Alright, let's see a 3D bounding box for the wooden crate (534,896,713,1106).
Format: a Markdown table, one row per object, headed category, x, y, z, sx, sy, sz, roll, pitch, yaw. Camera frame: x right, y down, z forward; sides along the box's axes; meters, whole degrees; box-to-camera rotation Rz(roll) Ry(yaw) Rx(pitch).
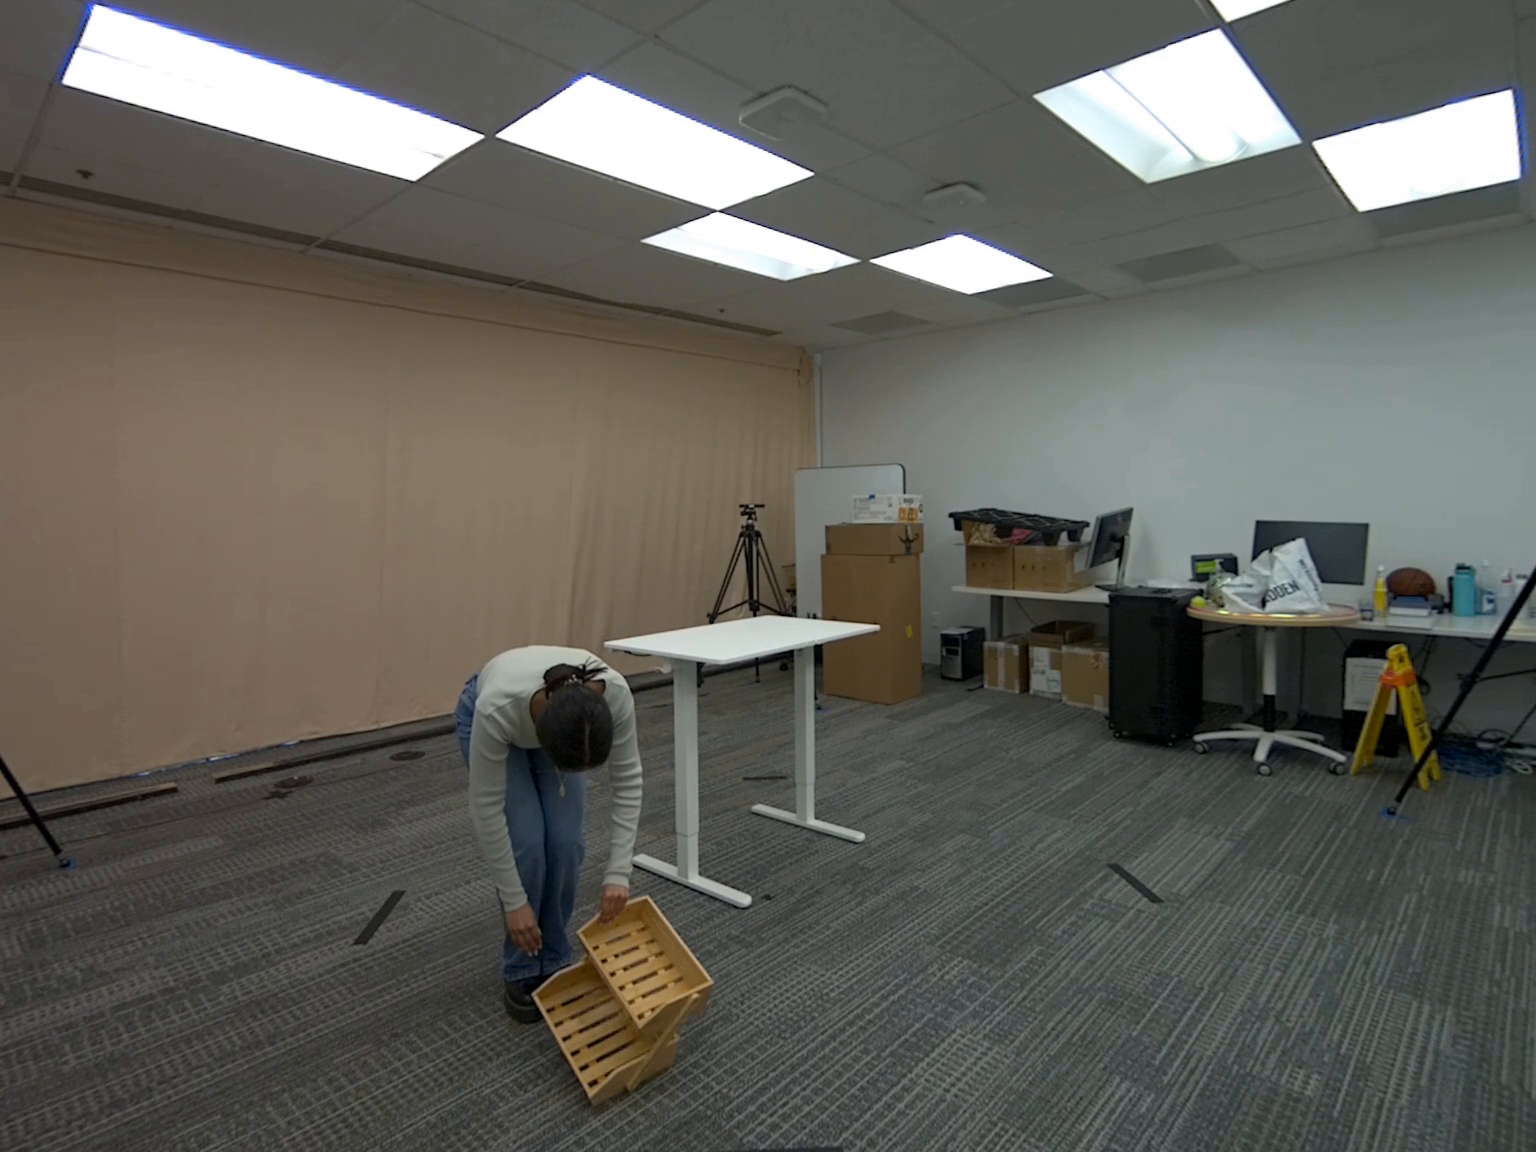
| category | x | y | z | sx | sy | sz | roll | pitch | yaw |
| --- | --- | --- | --- | --- | --- | --- | --- | --- | --- |
| wooden crate | -0.368 | 1.046 | 2.084 | 0.293 | 0.271 | 0.336 | -4 | 28 | -43 |
